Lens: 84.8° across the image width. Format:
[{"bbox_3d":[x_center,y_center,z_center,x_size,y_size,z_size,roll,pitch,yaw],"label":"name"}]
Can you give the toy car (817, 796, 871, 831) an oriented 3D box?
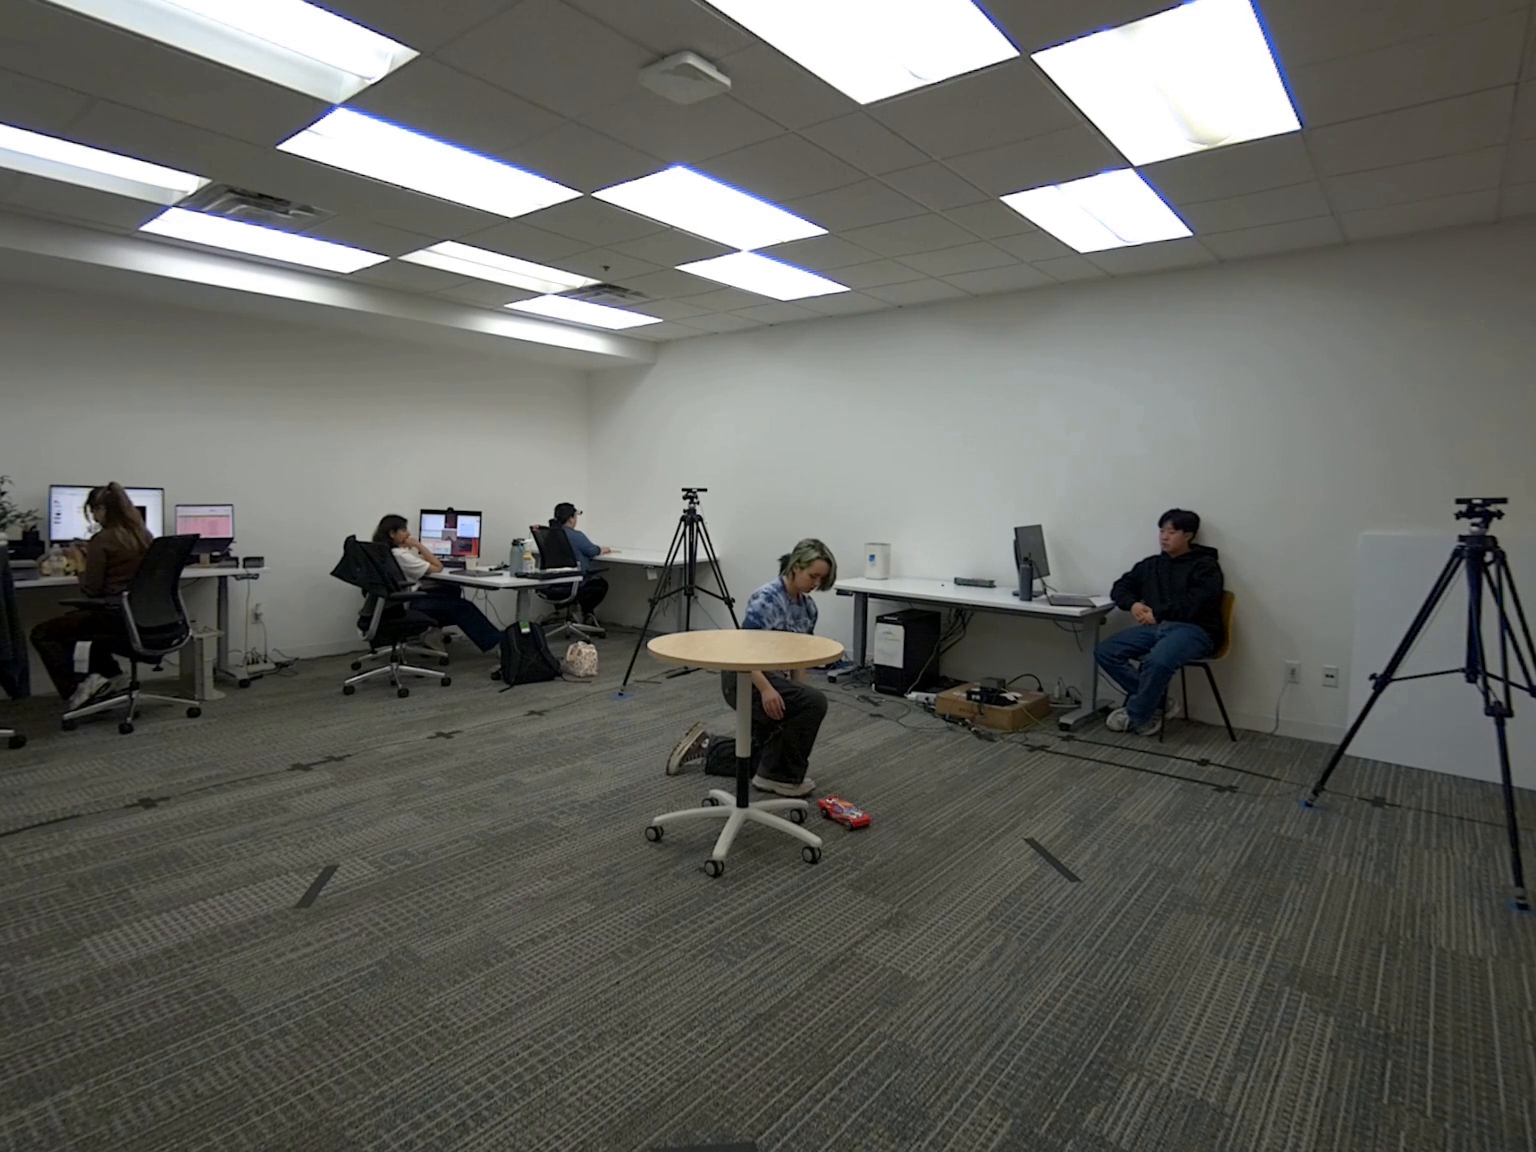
[{"bbox_3d":[0.314,1.002,3.613,0.126,0.082,0.265,-1,17,-35],"label":"toy car"}]
